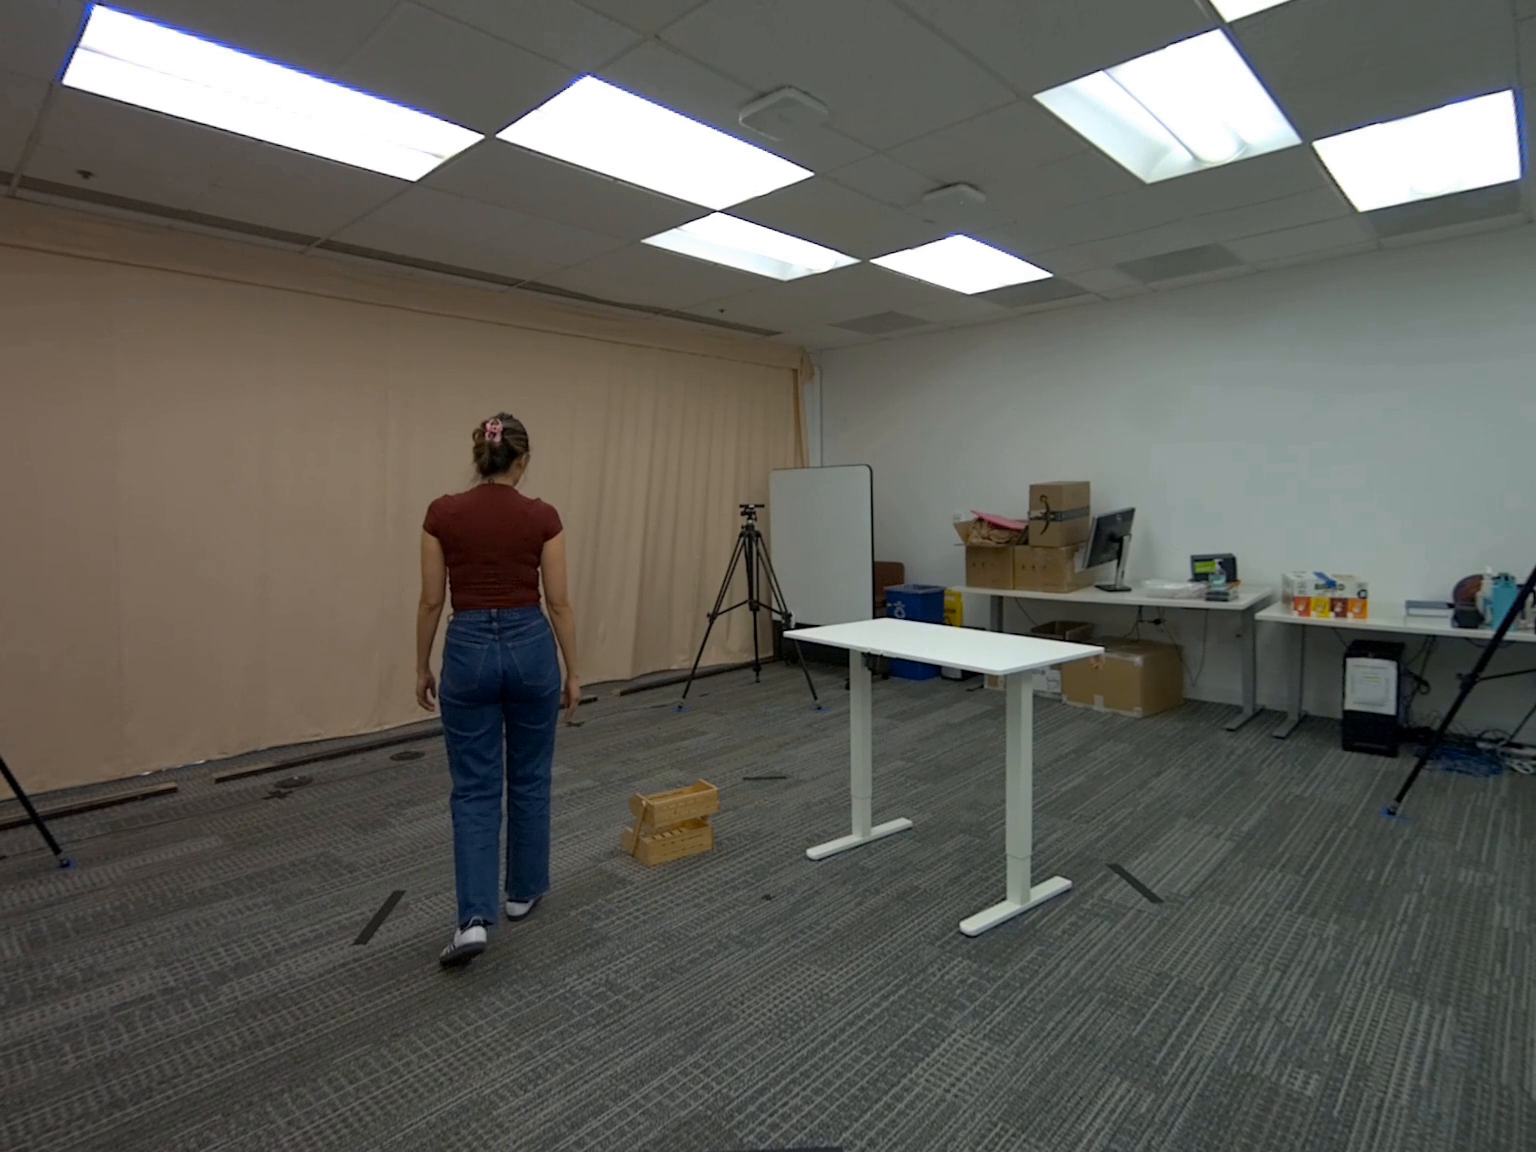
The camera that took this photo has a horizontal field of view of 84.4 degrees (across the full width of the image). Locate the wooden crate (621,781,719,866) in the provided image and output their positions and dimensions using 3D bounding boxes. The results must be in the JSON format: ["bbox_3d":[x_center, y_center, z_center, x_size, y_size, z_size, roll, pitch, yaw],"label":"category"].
[{"bbox_3d":[-0.405,0.976,3.418,0.315,0.272,0.311,-4,5,-33],"label":"wooden crate"}]
